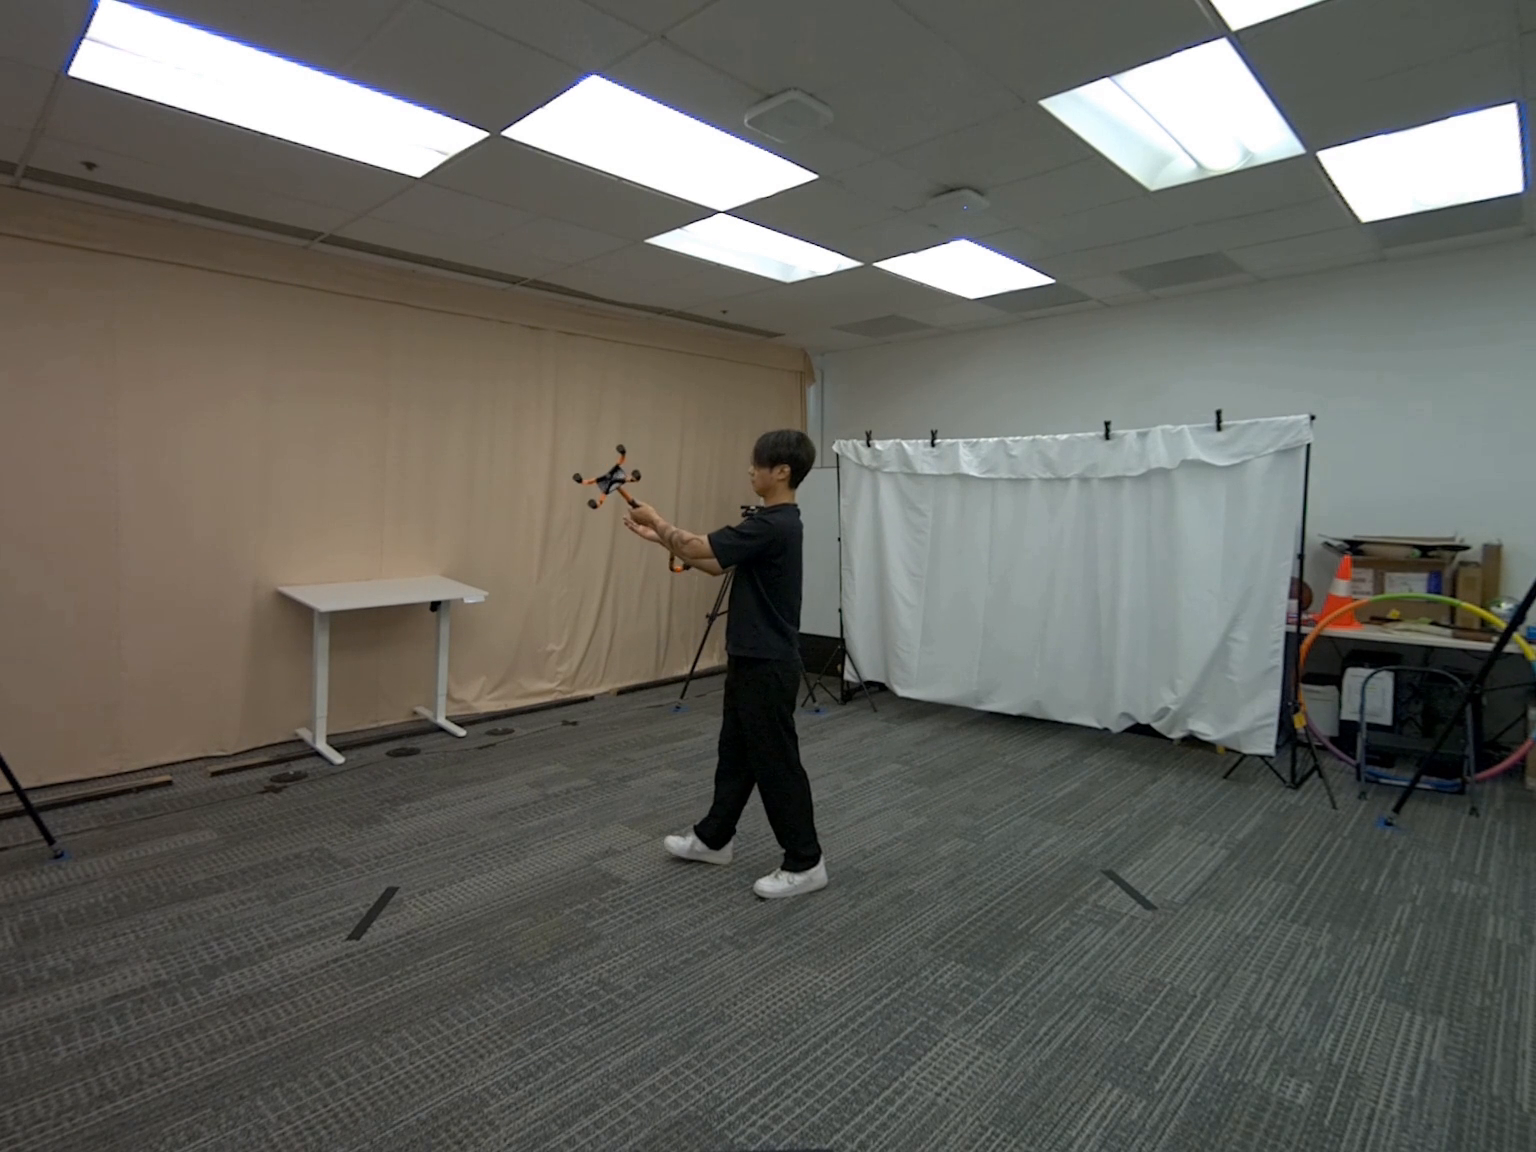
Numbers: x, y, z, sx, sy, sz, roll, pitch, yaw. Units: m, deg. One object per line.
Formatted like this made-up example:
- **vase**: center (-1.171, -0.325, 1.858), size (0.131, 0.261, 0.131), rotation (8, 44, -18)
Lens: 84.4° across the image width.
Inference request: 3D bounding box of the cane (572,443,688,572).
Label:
- **cane**: center (-0.438, -0.181, 3.221), size (0.206, 0.155, 0.883), rotation (-33, -25, 1)
